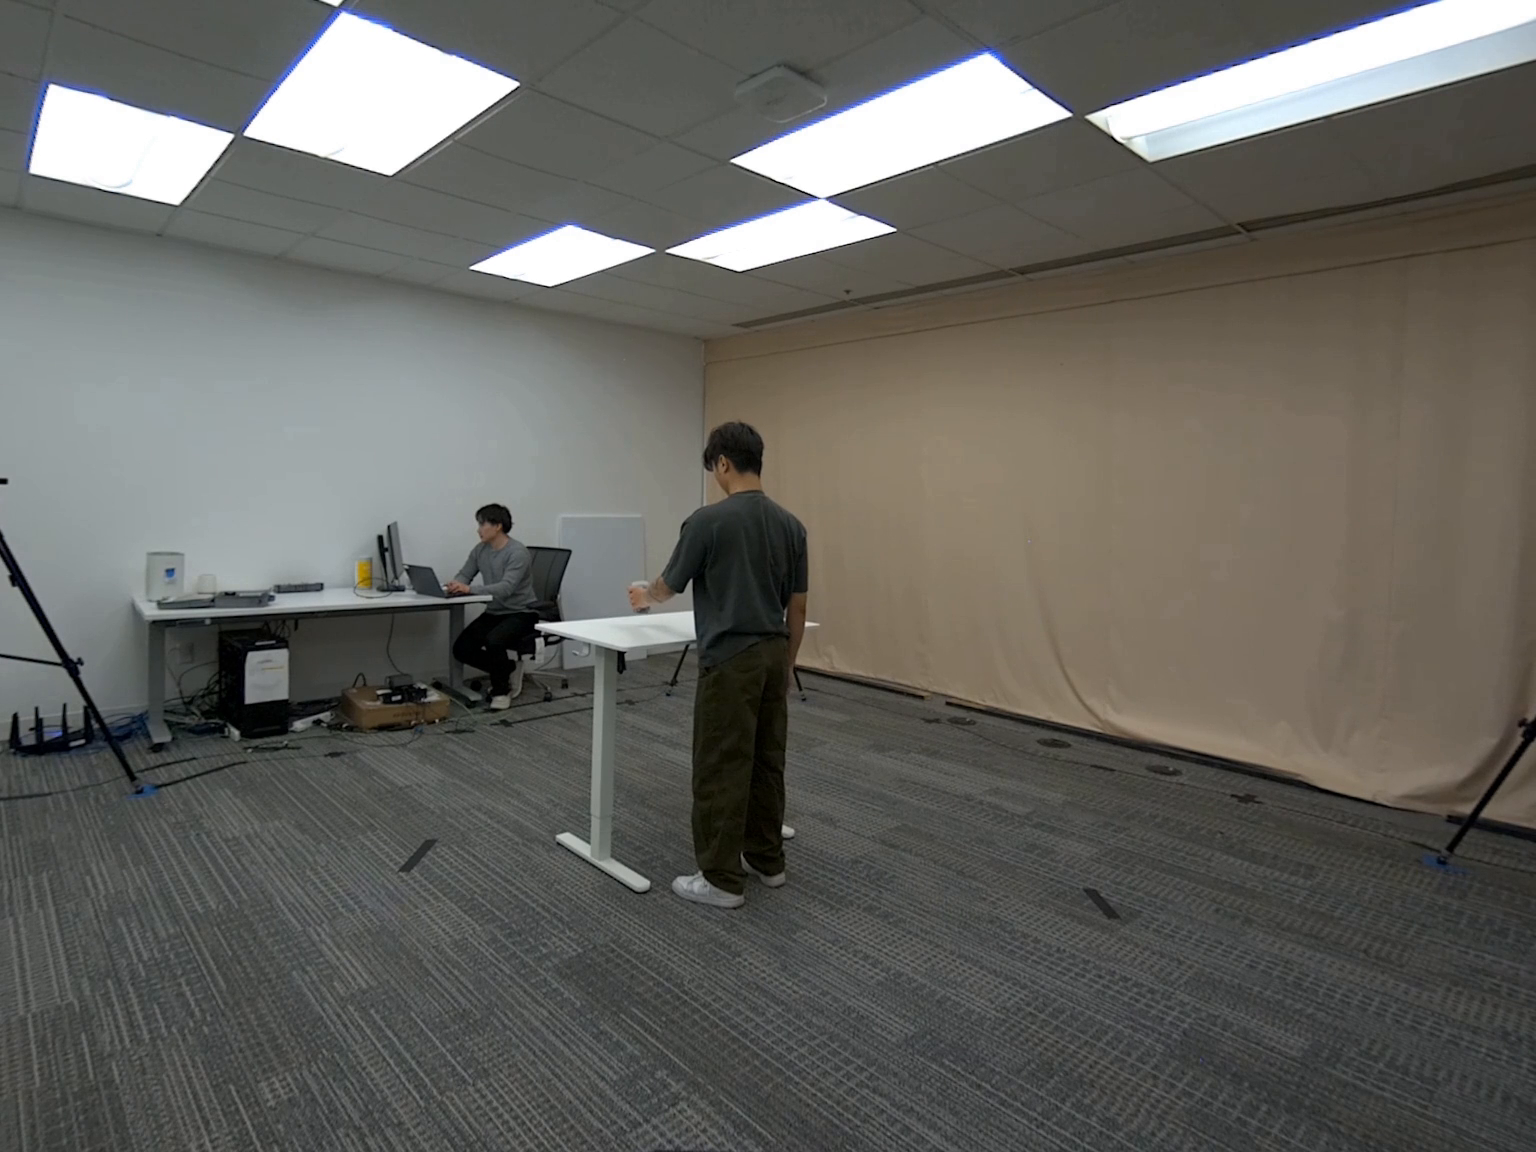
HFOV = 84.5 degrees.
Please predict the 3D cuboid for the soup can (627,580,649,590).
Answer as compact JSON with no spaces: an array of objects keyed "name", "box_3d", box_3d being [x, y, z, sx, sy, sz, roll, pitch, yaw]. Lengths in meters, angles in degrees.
[{"name":"soup can","box_3d":[-0.494,0.080,3.307,0.067,0.121,0.067,0,6,-1]}]
